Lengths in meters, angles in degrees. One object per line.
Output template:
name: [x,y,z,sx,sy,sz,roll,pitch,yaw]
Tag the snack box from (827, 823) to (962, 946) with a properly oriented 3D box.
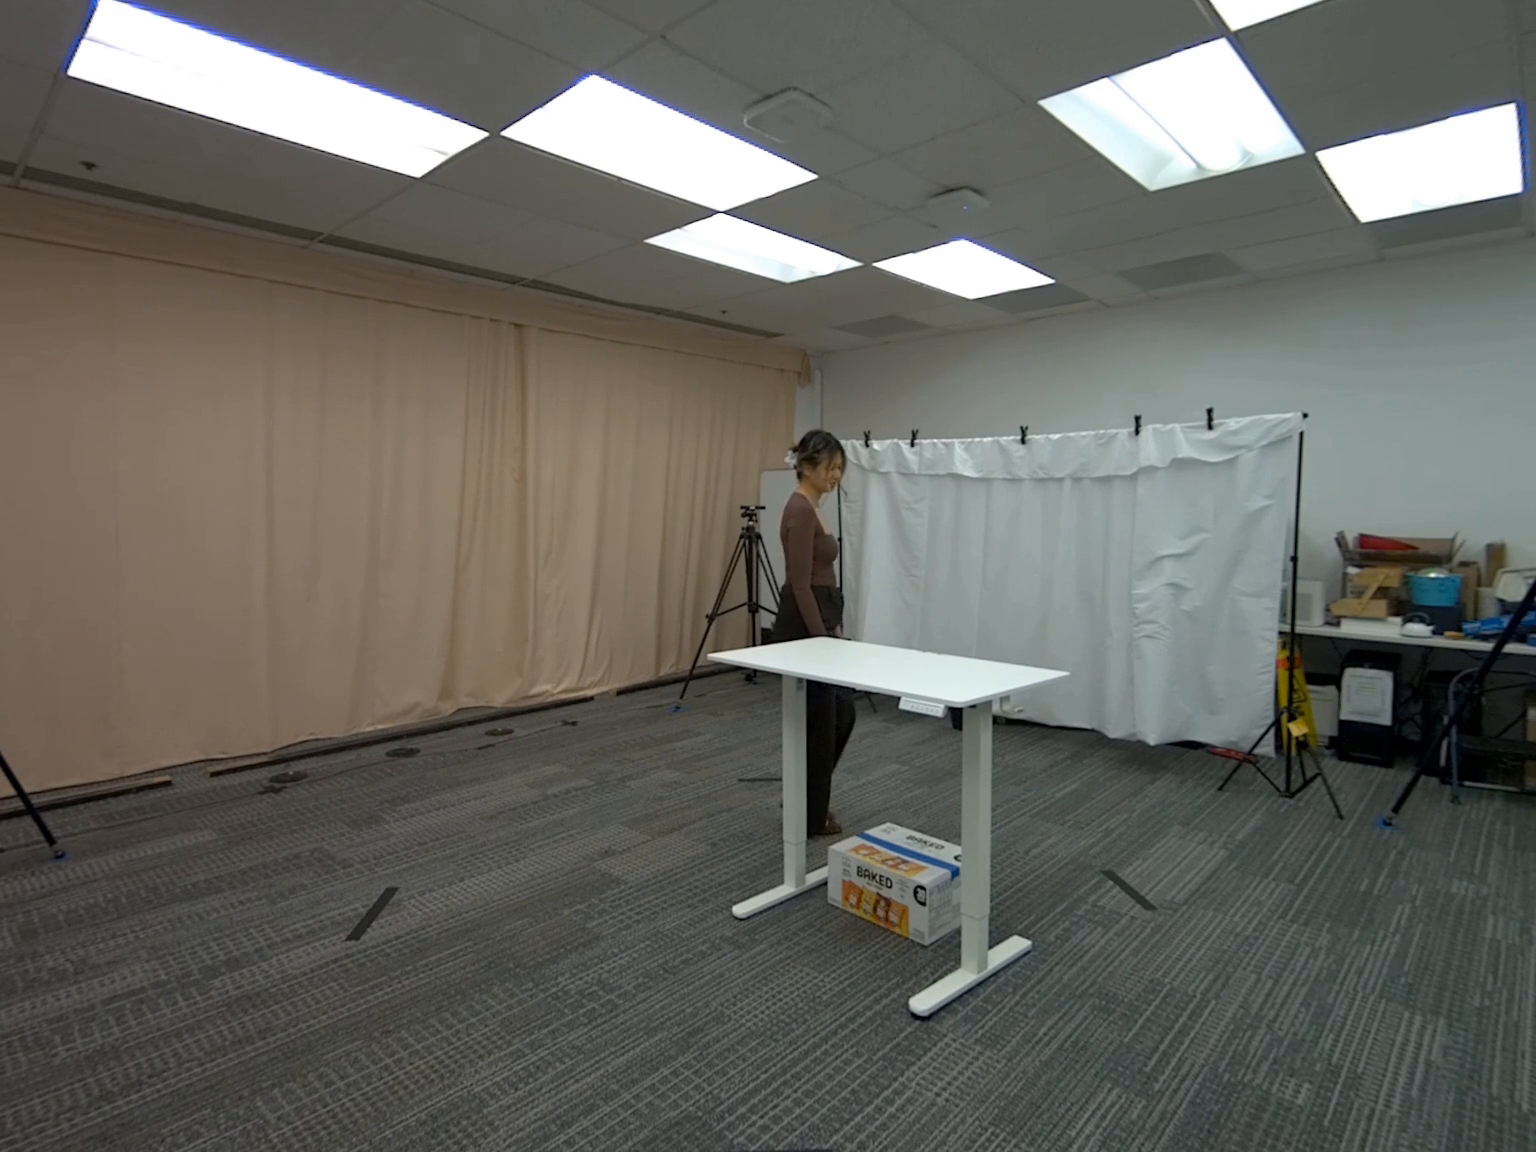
snack box: [0.479,1.048,2.902,0.330,0.205,0.419,-5,6,-44]
